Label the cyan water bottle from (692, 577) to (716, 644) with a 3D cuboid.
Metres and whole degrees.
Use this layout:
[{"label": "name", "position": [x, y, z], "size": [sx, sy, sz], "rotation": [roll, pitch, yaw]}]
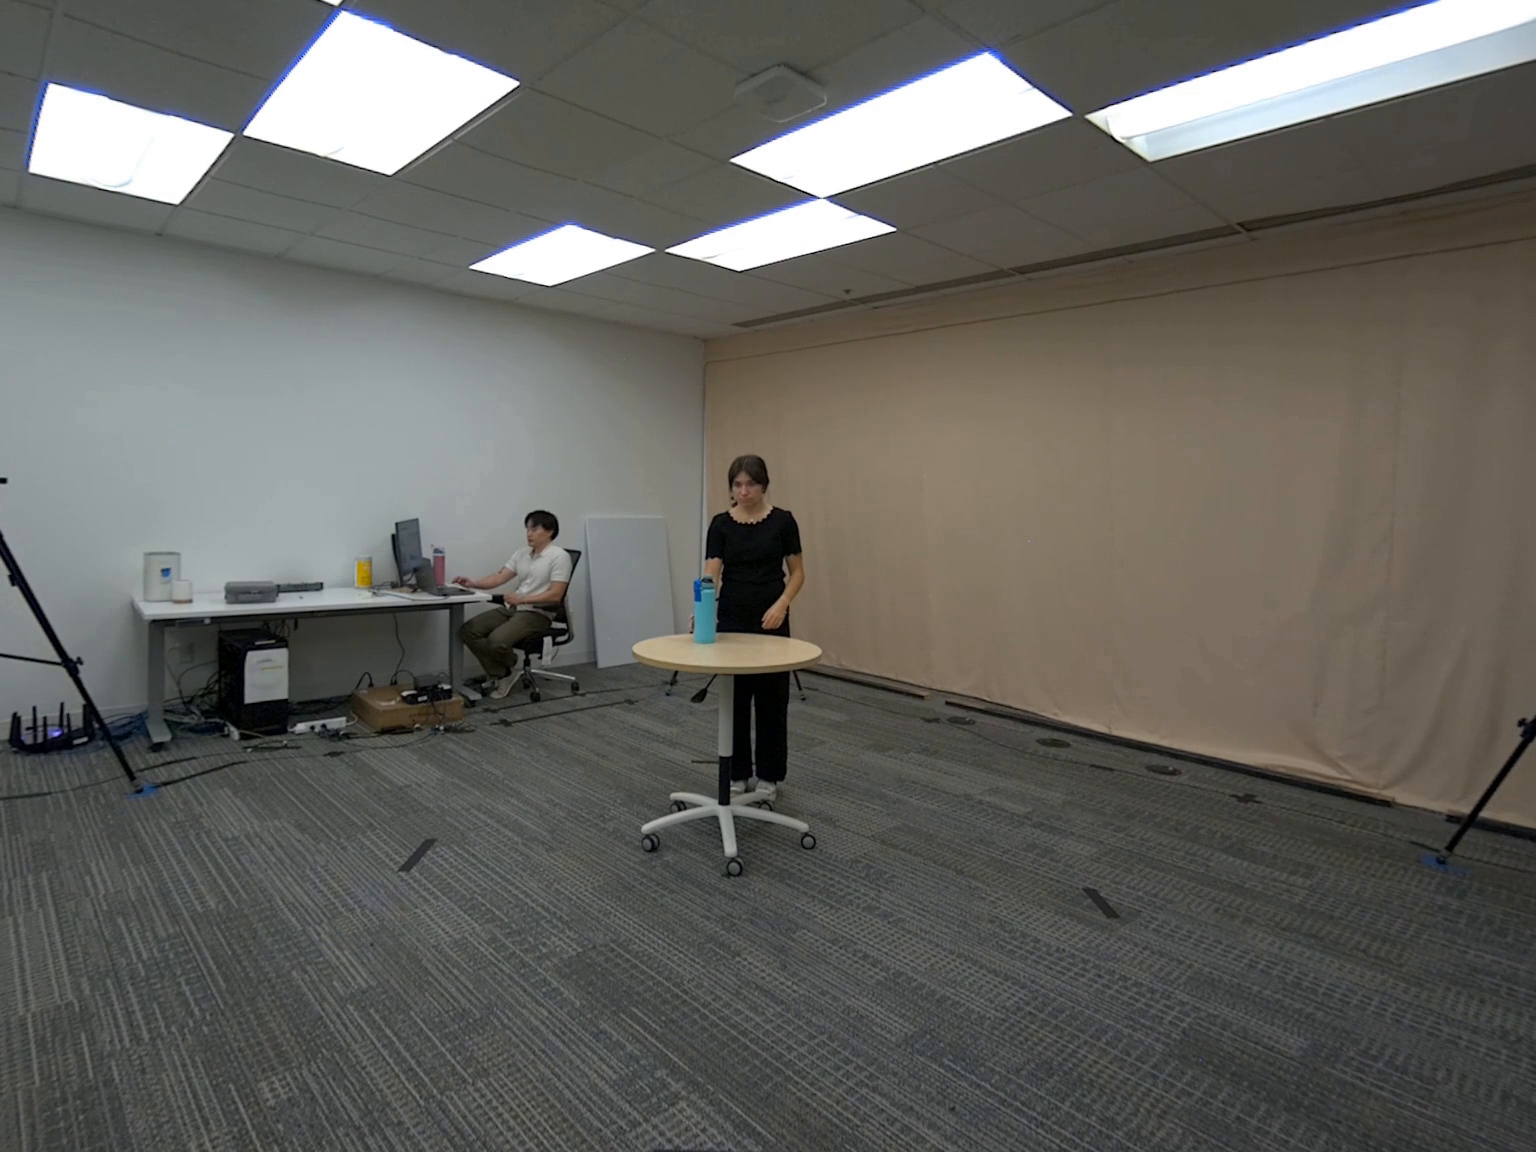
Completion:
[{"label": "cyan water bottle", "position": [-0.280, 0.137, 3.542], "size": [0.092, 0.282, 0.093], "rotation": [2, 5, -2]}]
